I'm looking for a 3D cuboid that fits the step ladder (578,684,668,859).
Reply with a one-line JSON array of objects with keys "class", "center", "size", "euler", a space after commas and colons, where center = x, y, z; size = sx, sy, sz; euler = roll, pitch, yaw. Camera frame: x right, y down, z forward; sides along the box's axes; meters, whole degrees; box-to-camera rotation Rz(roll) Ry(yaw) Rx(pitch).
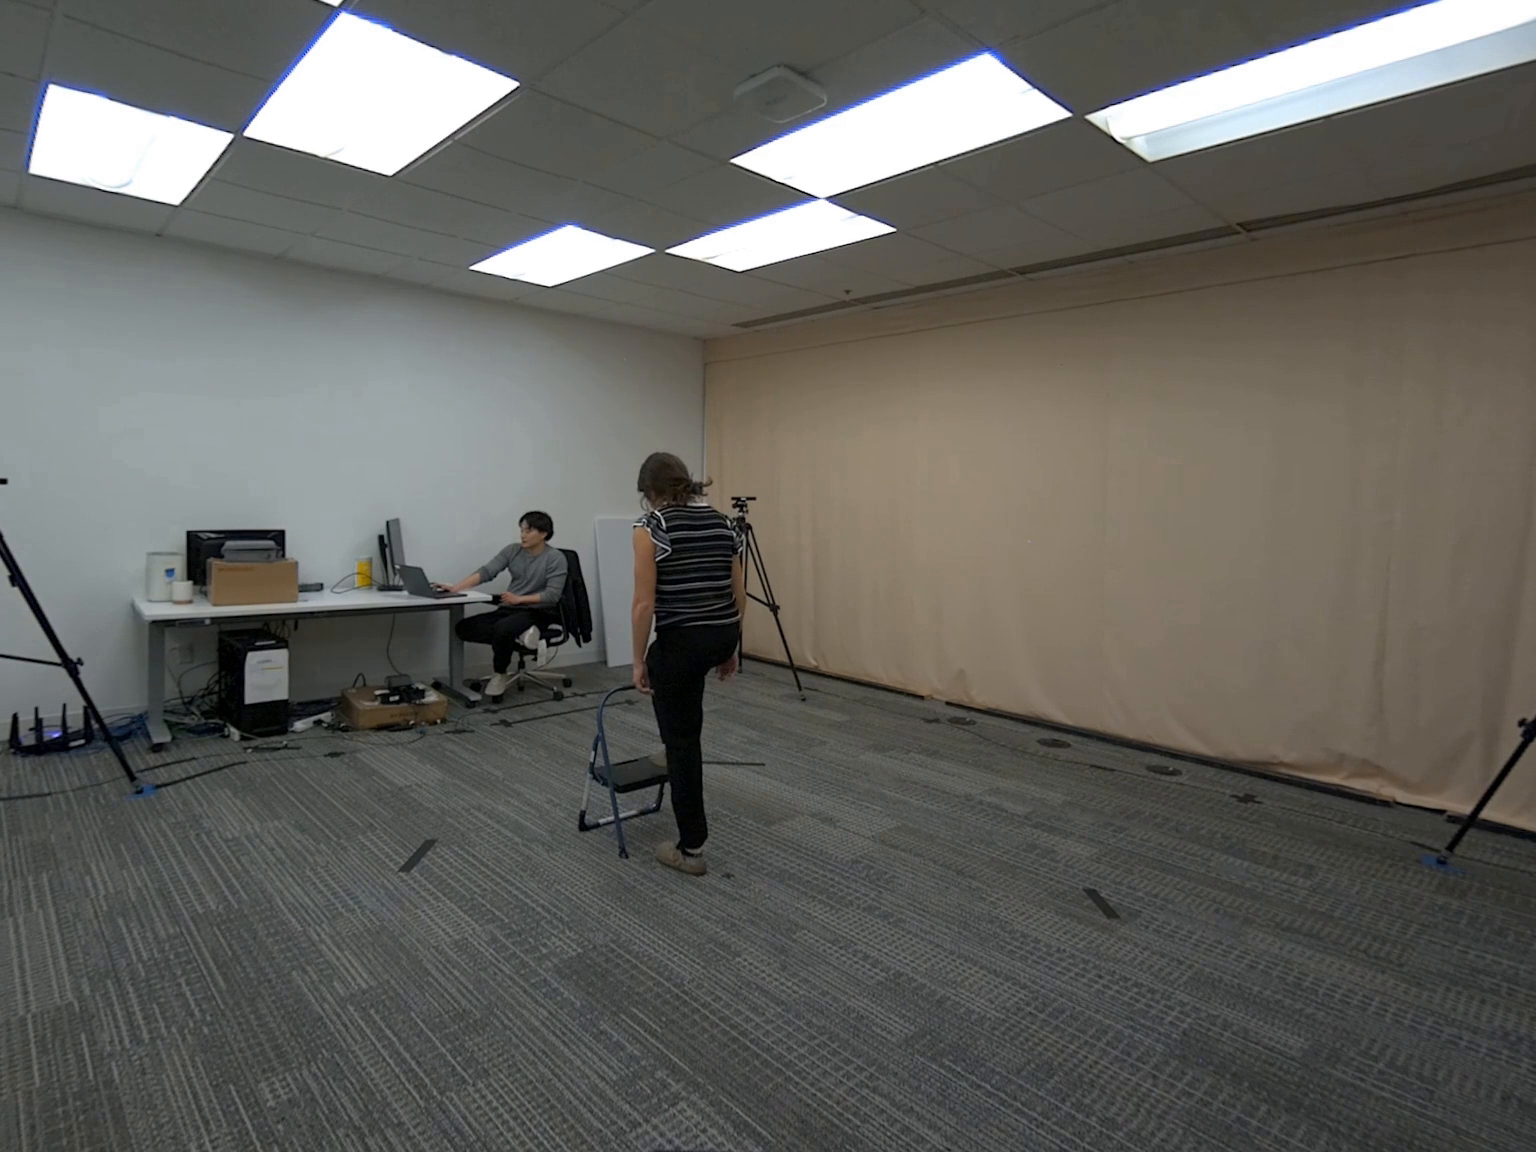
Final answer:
[{"class": "step ladder", "center": [-0.523, 0.761, 3.486], "size": [0.421, 0.605, 0.358], "euler": [-2, 4, -44]}]
